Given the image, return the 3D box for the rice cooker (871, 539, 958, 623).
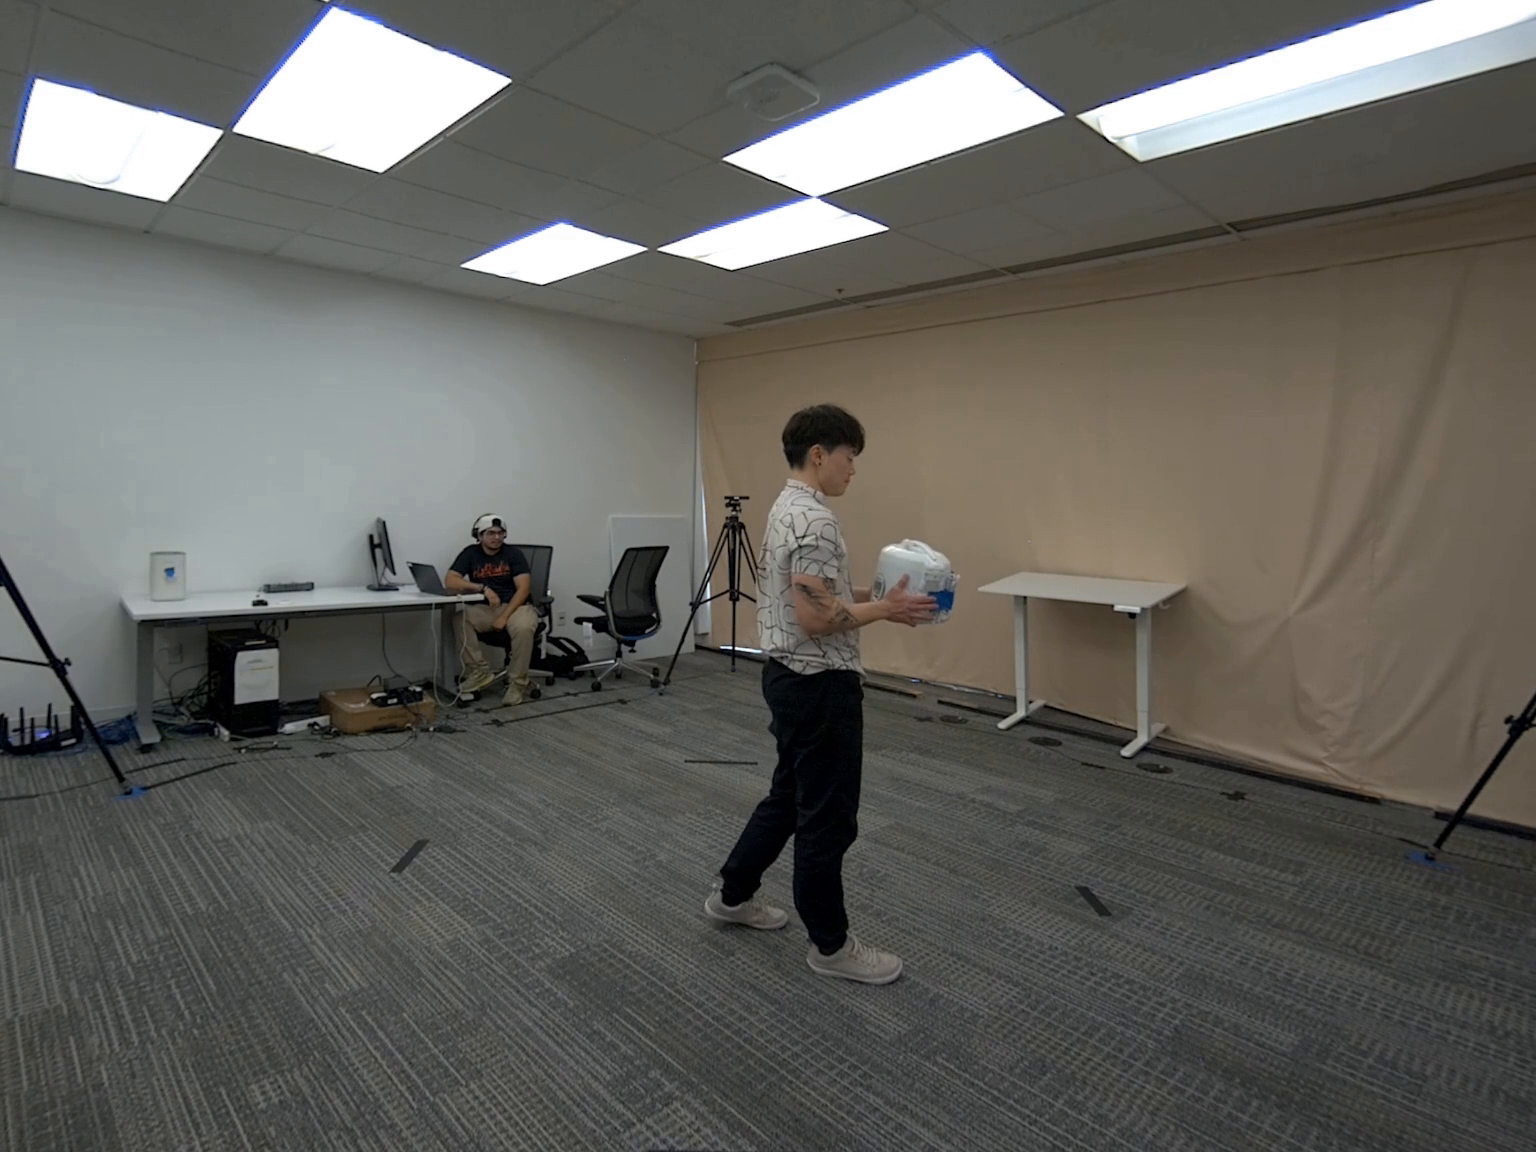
[{"bbox_3d":[0.405,0.008,2.518,0.213,0.231,0.226,6,10,-23],"label":"rice cooker"}]
